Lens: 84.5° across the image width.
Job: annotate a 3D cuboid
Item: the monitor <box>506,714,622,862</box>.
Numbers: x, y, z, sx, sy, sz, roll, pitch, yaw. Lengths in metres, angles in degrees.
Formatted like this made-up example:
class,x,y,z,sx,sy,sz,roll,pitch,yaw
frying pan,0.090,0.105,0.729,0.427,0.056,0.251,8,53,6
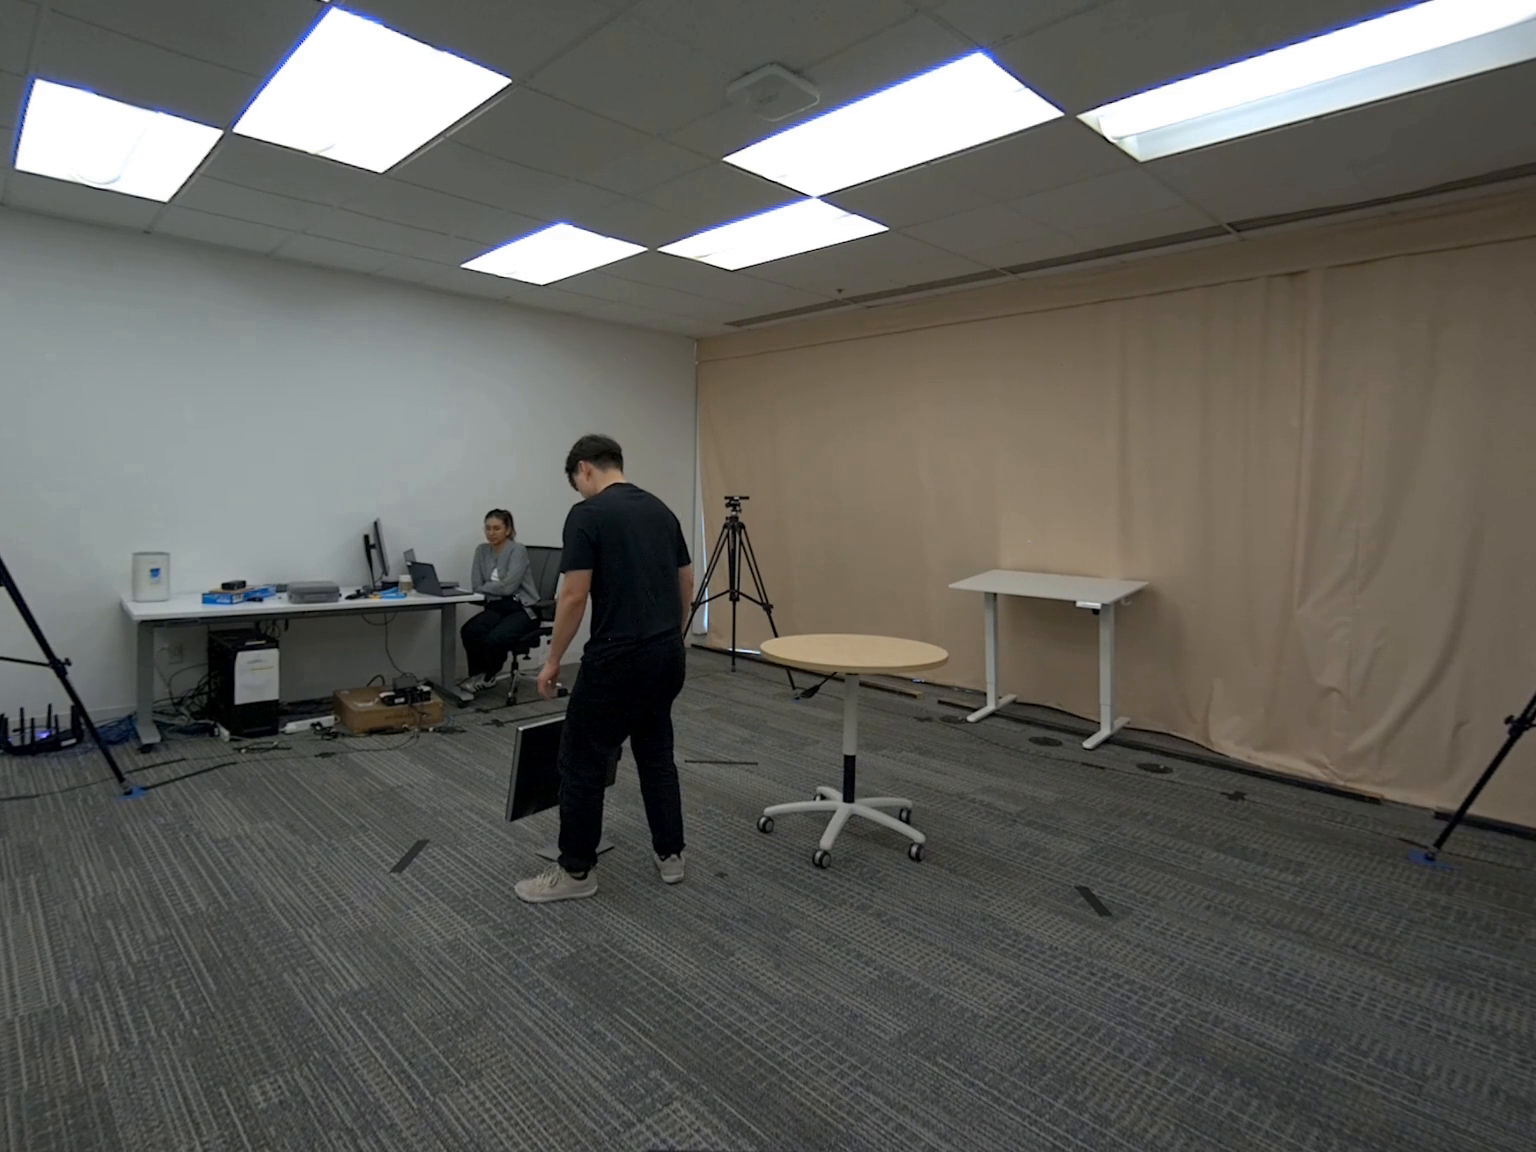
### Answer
class,x,y,z,sx,sy,sz,roll,pitch,yaw
monitor,-0.750,0.812,3.271,0.191,0.522,0.528,2,3,32
